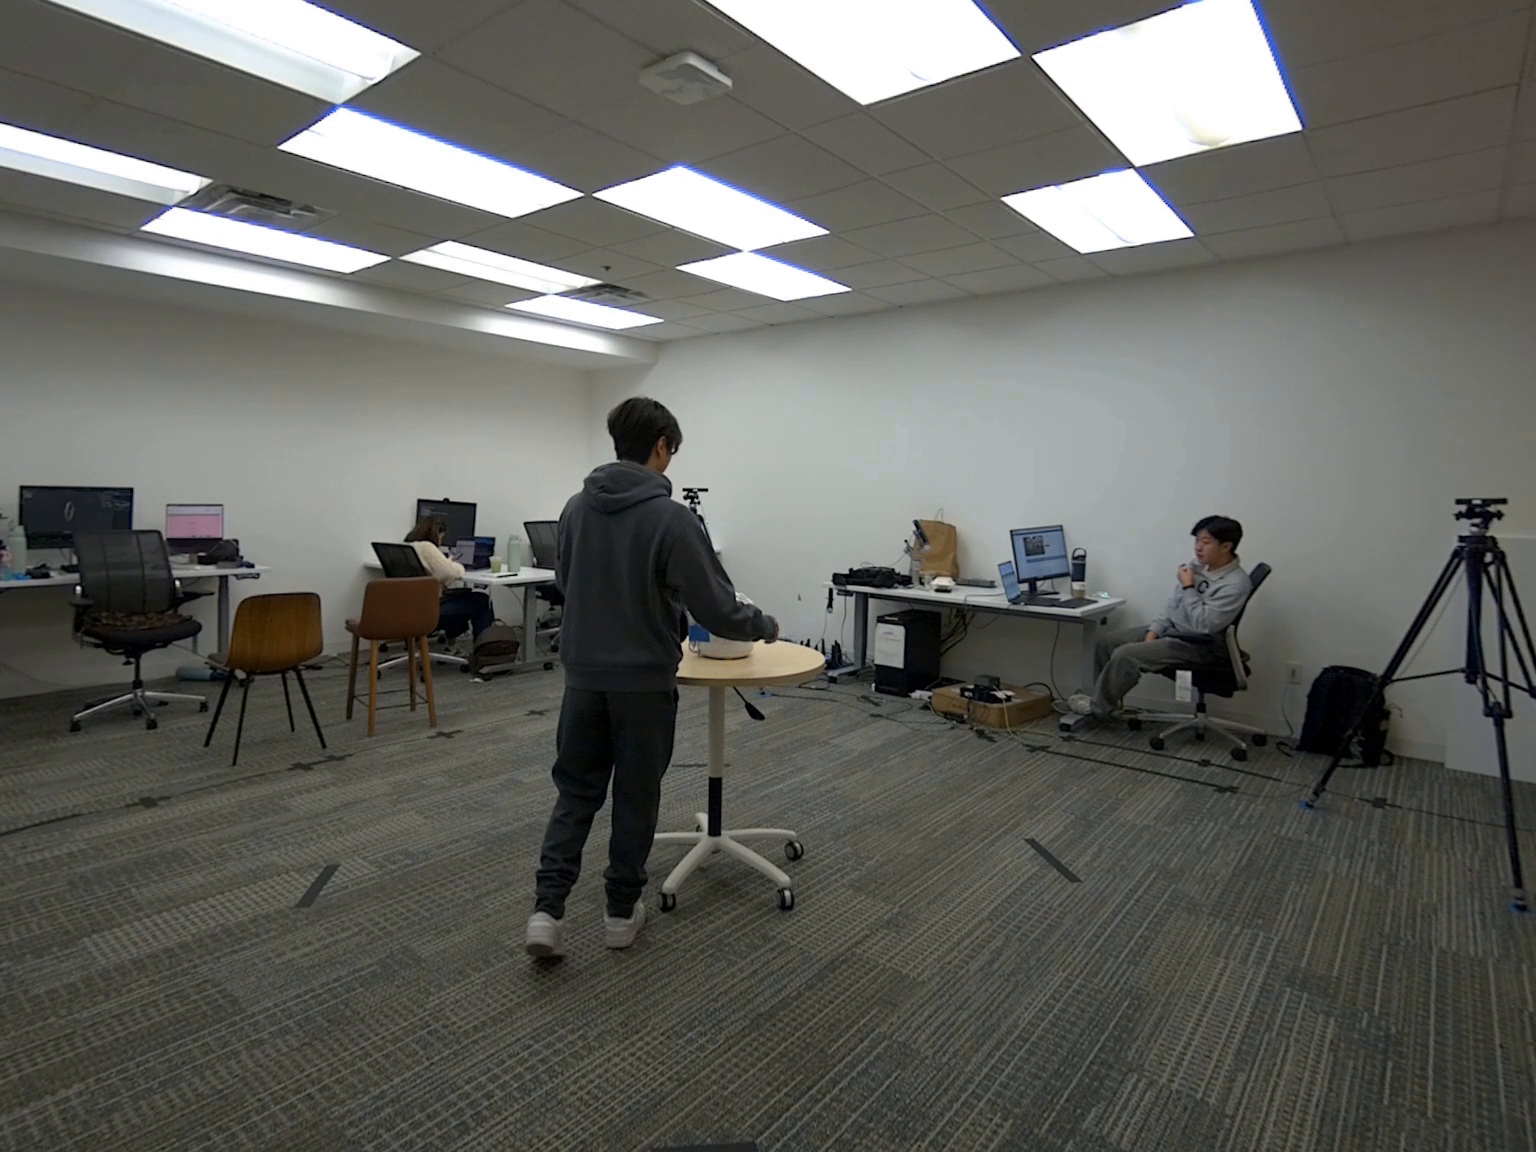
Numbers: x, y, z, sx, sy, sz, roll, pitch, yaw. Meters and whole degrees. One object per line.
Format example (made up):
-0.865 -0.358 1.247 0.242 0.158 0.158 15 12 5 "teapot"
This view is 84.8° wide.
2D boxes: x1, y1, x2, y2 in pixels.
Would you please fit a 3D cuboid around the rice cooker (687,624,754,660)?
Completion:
-0.165 0.165 3.044 0.227 0.232 0.212 4 5 28 "rice cooker"
